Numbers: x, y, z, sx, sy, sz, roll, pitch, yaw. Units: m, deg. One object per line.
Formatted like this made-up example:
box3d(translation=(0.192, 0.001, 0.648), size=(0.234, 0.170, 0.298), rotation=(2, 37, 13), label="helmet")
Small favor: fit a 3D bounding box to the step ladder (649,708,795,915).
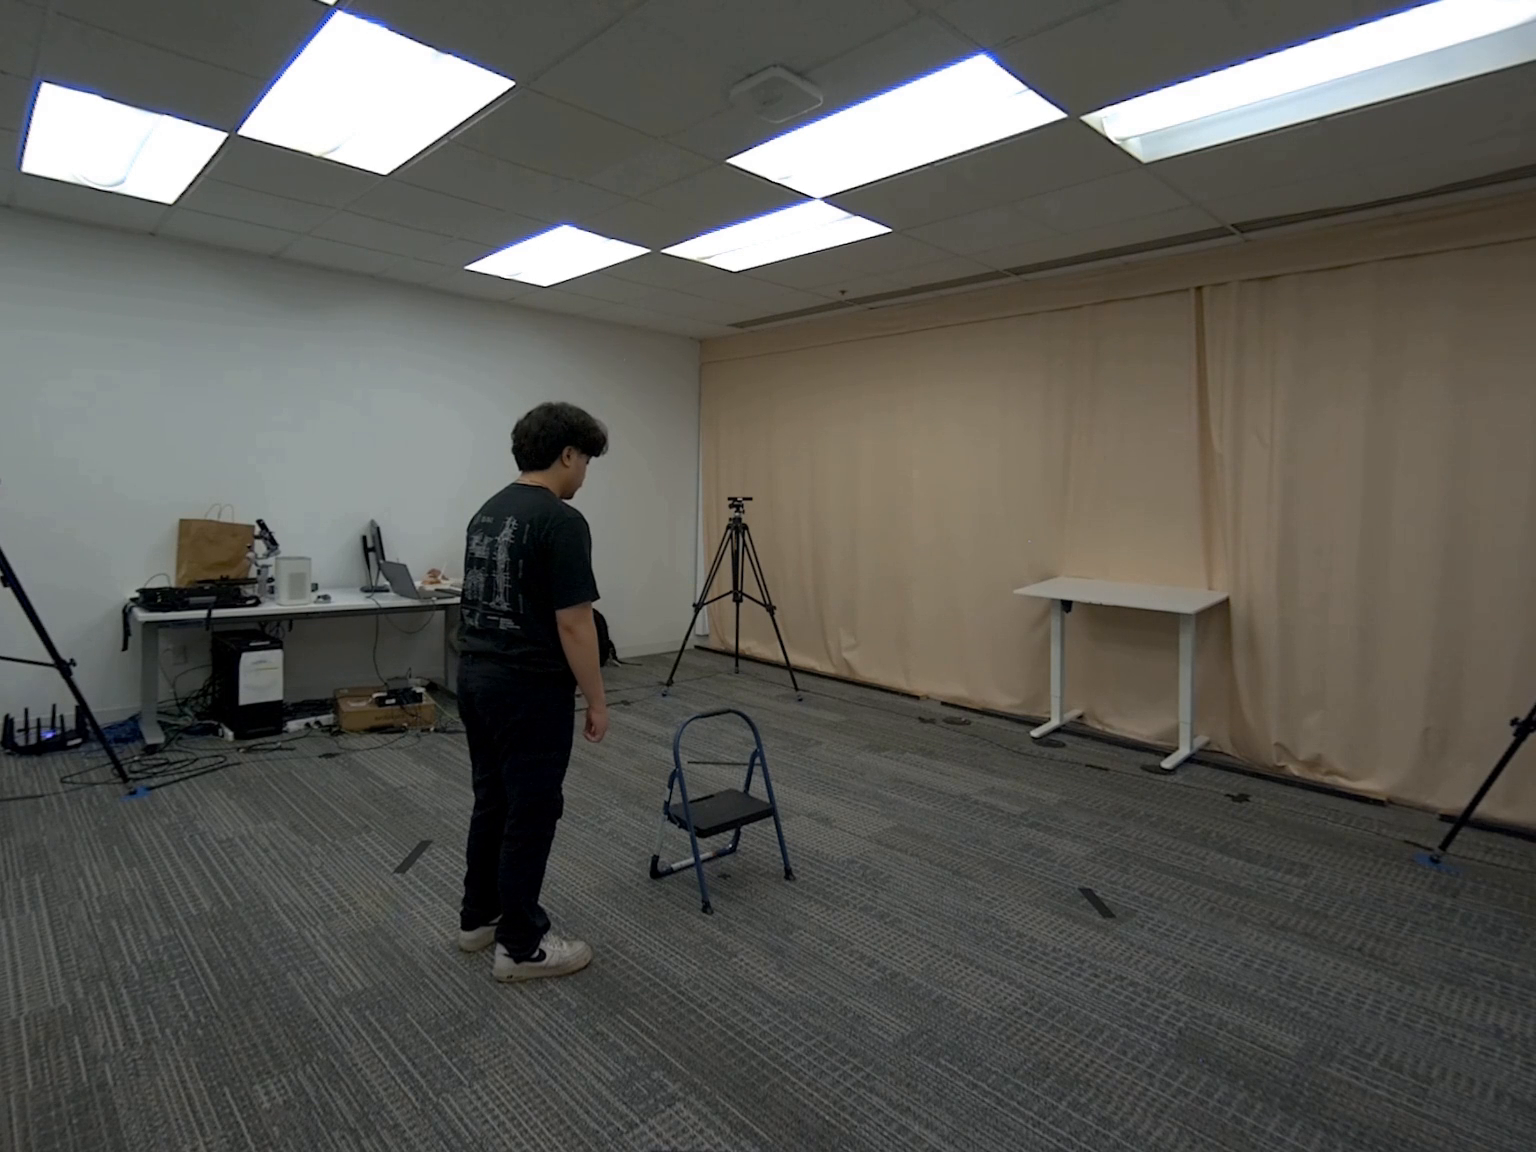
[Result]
box3d(translation=(-0.166, 0.806, 3.065), size=(0.421, 0.604, 0.358), rotation=(-2, 5, -44), label="step ladder")
